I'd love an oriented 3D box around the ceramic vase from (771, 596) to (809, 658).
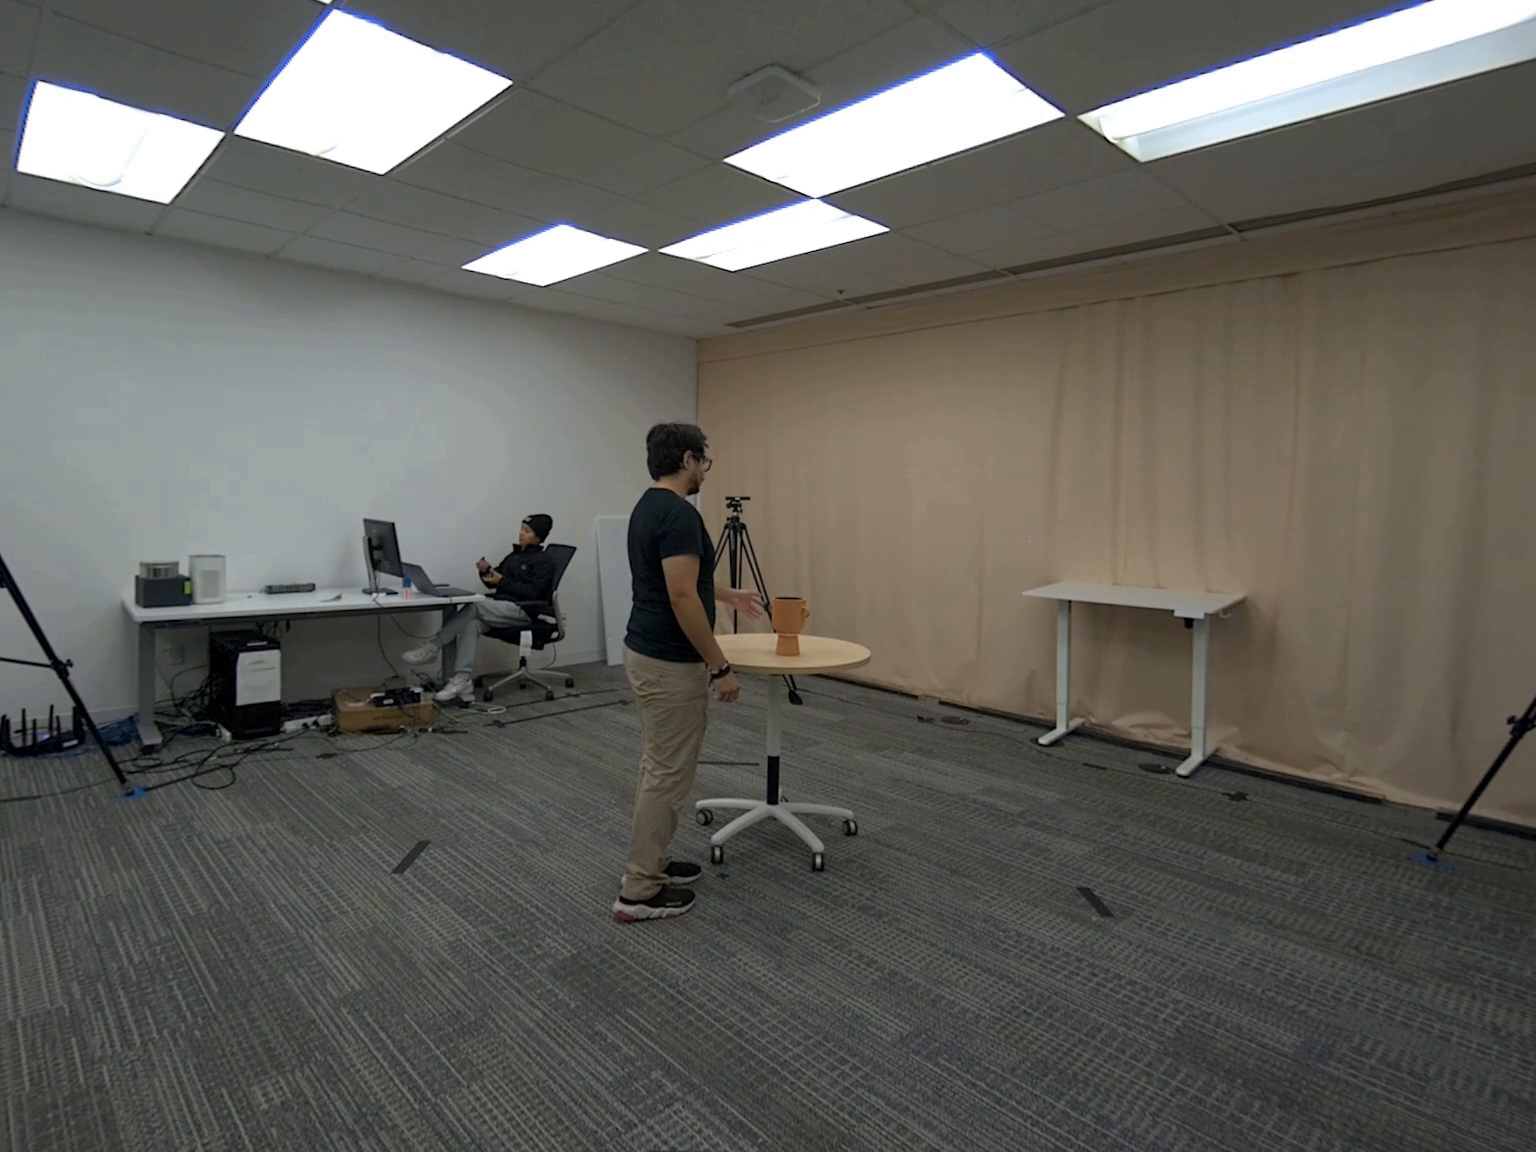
[{"bbox_3d":[0.075,0.201,3.327,0.133,0.219,0.161,0,5,-11],"label":"ceramic vase"}]
